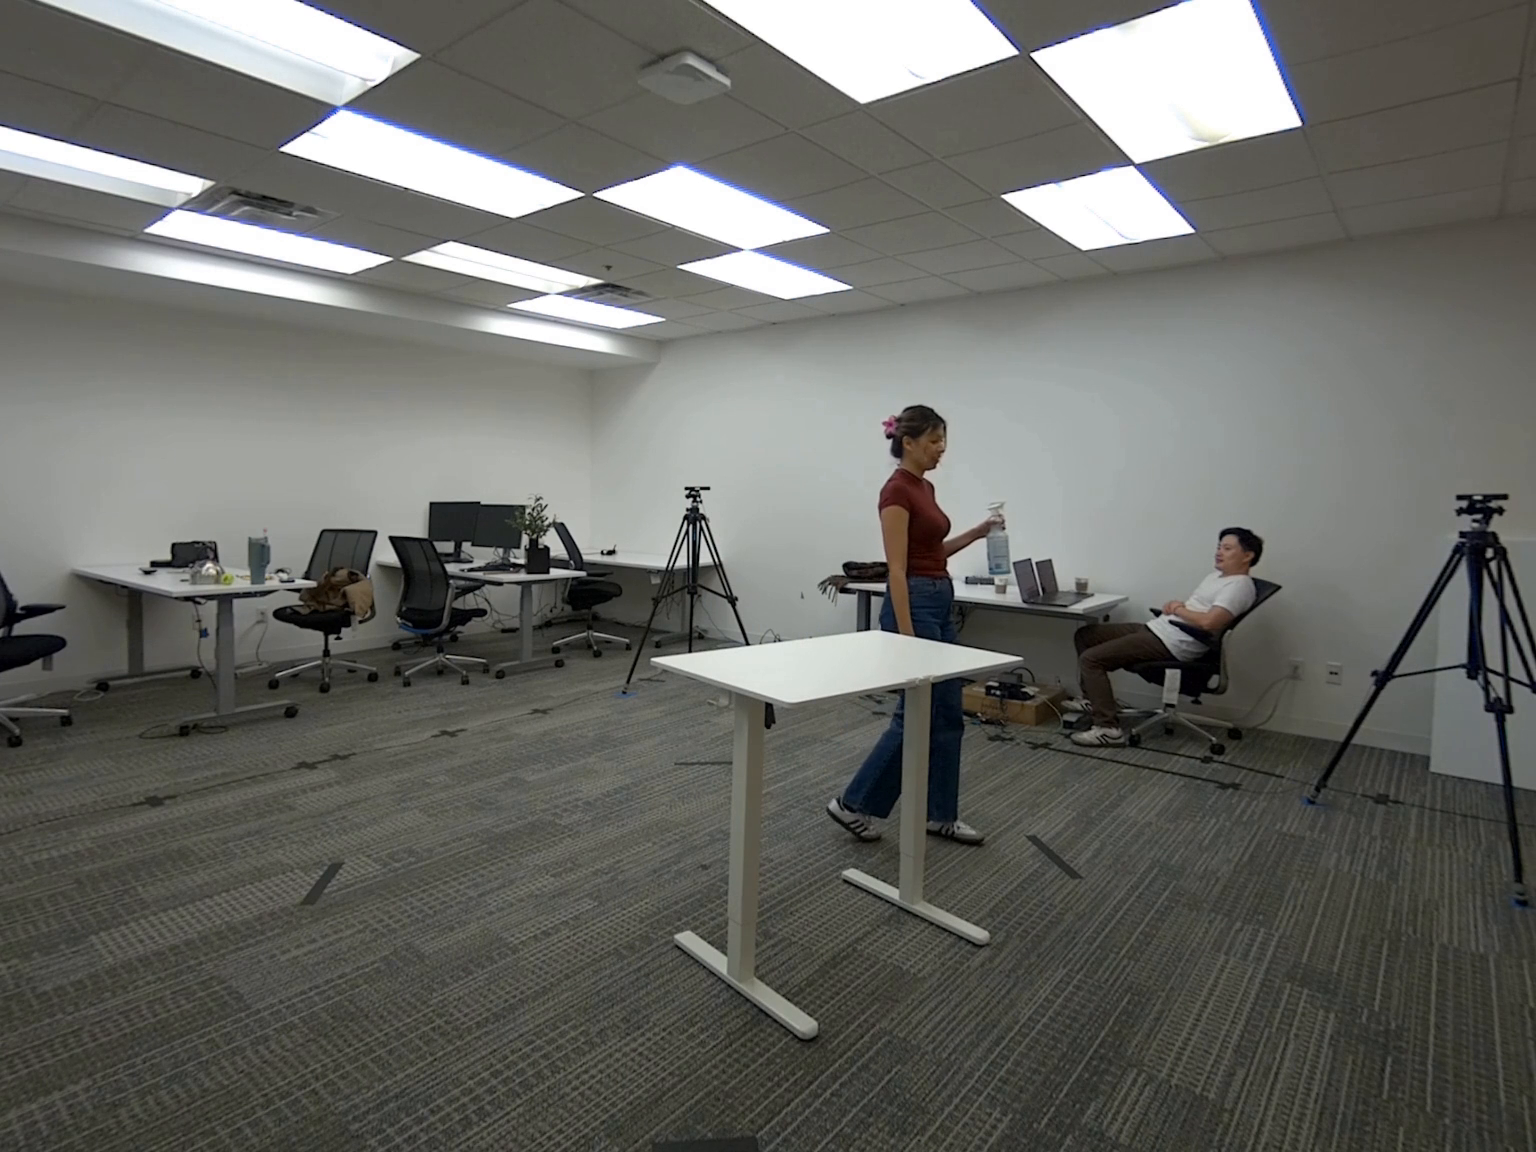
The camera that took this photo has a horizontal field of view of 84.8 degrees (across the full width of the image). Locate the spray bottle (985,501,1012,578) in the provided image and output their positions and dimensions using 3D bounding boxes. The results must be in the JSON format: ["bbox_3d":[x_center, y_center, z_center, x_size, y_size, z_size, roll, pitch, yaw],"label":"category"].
[{"bbox_3d":[0.918,-0.154,3.437,0.087,0.297,0.090,-4,2,-4],"label":"spray bottle"}]
